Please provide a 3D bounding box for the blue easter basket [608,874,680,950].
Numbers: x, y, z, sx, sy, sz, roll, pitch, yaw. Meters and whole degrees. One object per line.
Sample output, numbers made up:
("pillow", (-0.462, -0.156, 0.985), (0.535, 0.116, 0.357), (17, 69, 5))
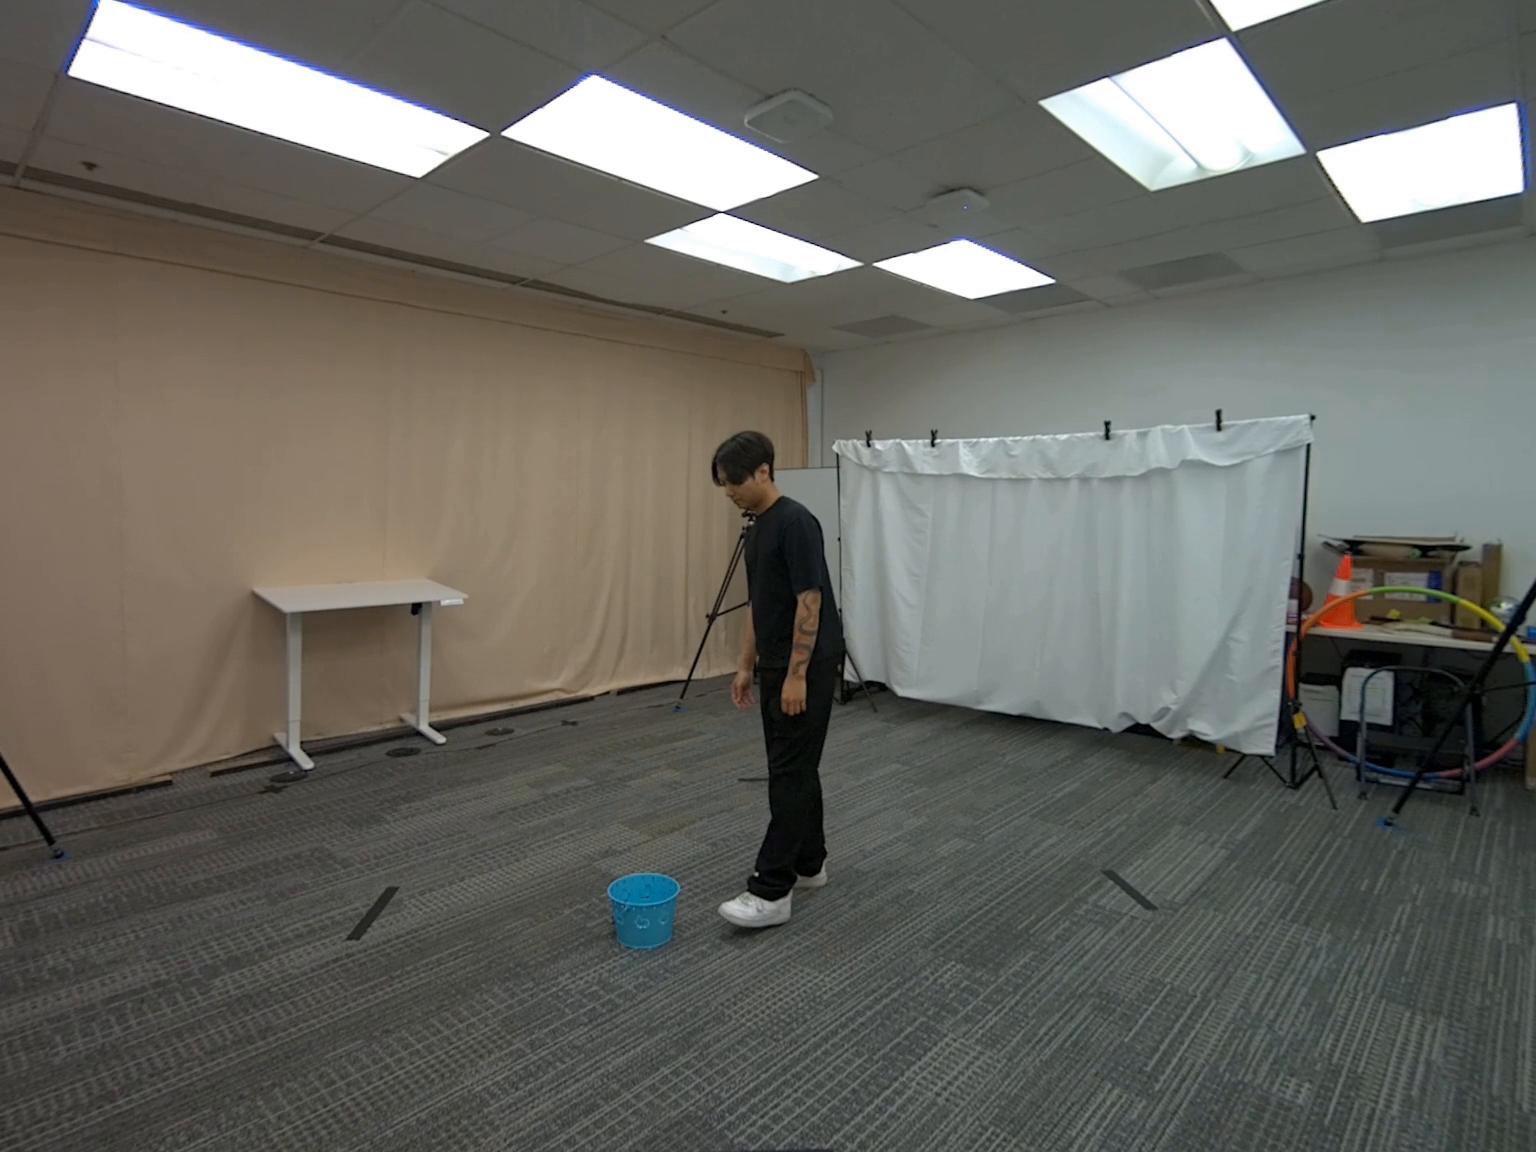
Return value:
("blue easter basket", (-0.403, 1.092, 2.739), (0.243, 0.155, 0.244), (0, 4, -2))
